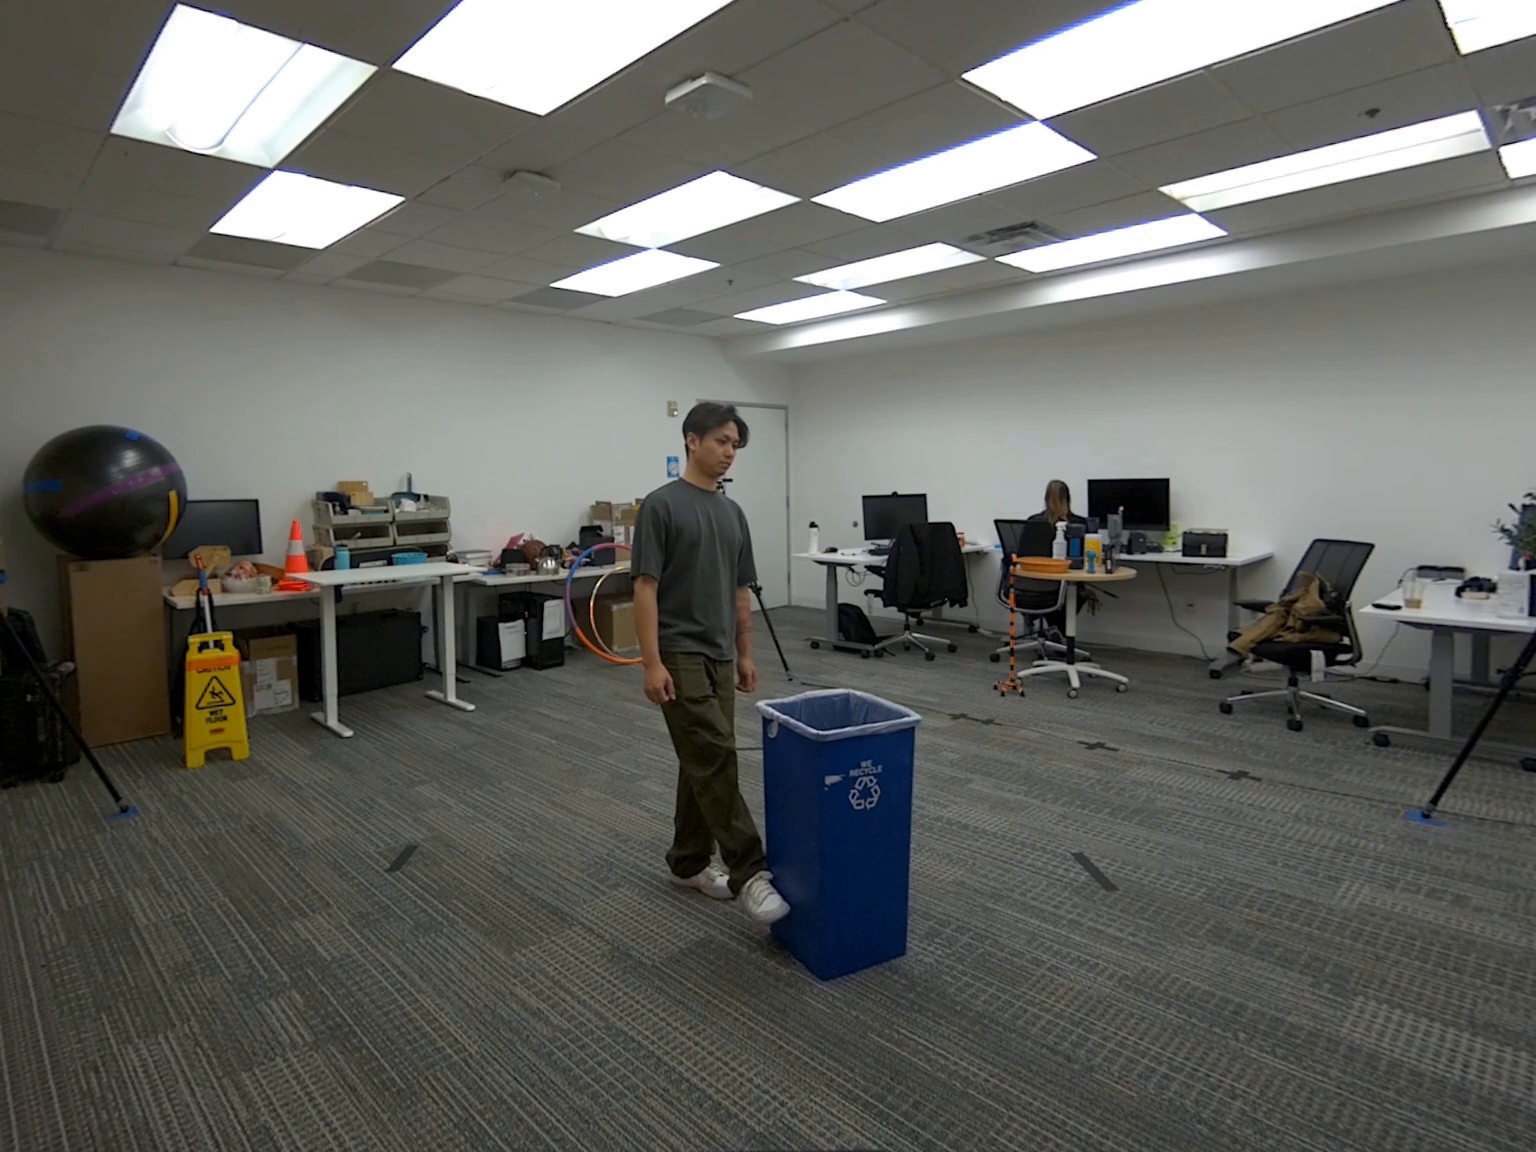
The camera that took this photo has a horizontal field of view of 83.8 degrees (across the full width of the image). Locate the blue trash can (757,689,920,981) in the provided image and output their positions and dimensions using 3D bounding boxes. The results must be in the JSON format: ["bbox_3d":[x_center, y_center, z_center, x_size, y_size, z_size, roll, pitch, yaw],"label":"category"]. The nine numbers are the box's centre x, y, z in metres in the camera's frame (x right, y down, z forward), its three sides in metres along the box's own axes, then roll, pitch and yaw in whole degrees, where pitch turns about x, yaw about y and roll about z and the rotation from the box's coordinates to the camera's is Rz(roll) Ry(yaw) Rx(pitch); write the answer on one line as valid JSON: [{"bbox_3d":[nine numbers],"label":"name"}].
[{"bbox_3d":[0.207,0.748,2.543,0.369,0.710,0.385,-2,6,-30],"label":"blue trash can"}]
